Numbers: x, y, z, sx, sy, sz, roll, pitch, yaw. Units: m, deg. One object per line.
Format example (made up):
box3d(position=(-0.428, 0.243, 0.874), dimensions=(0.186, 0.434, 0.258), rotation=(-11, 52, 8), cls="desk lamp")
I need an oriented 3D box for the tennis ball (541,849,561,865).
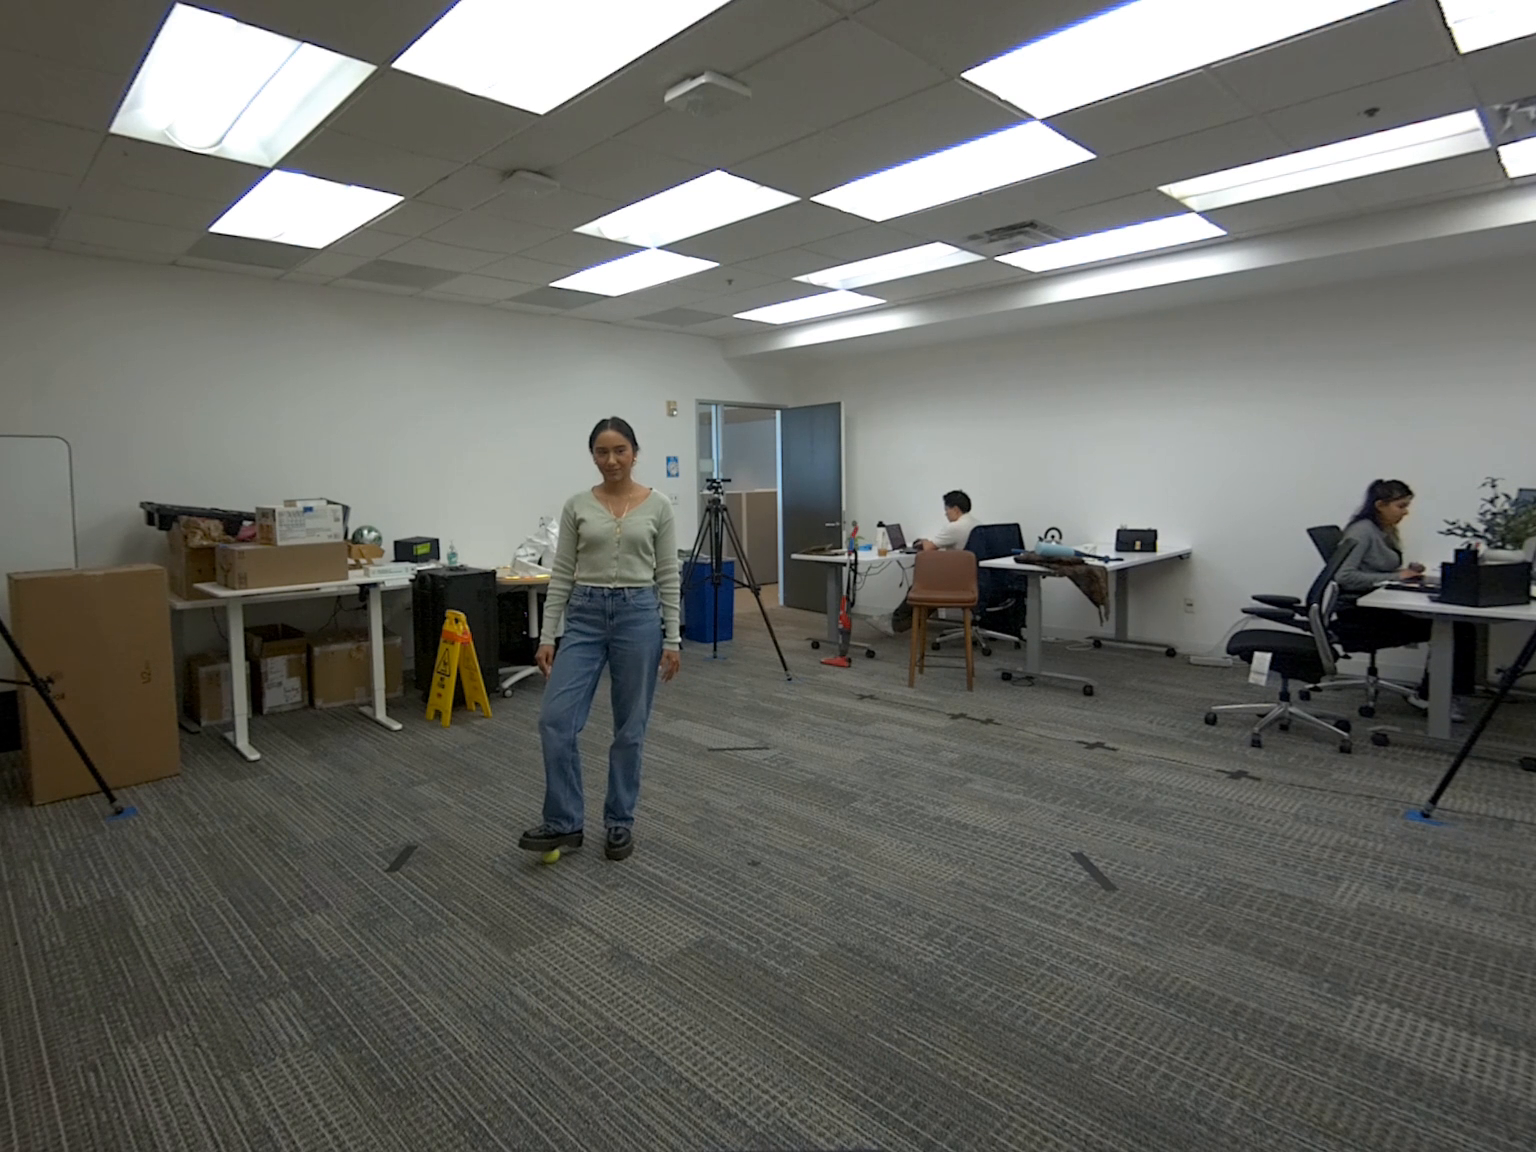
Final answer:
box3d(position=(-0.809, 1.039, 3.149), dimensions=(0.066, 0.066, 0.067), rotation=(-1, 5, -2), cls="tennis ball")
